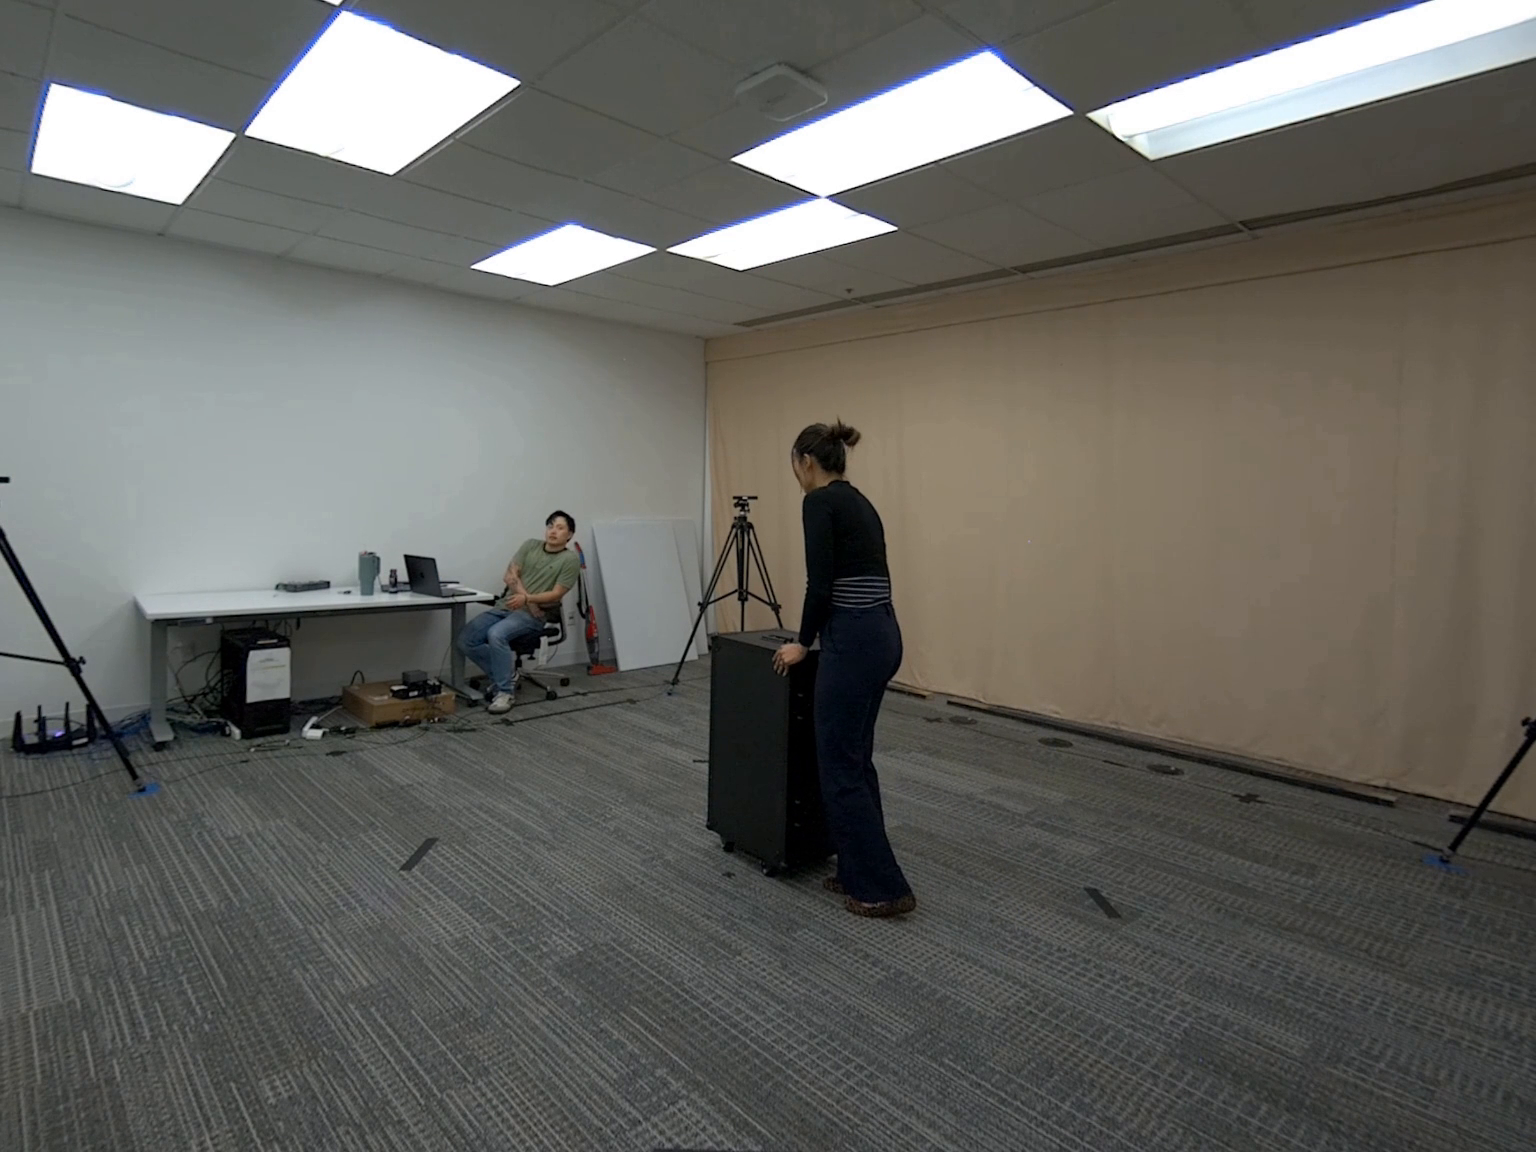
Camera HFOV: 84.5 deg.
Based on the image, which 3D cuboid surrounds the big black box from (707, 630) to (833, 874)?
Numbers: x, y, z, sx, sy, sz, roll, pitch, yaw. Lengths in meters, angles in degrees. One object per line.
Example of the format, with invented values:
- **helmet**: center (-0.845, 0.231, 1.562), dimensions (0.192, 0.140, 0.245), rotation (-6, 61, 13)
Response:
- **big black box**: center (0.033, 0.613, 3.269), dimensions (0.387, 0.860, 0.534), rotation (0, 3, -39)
